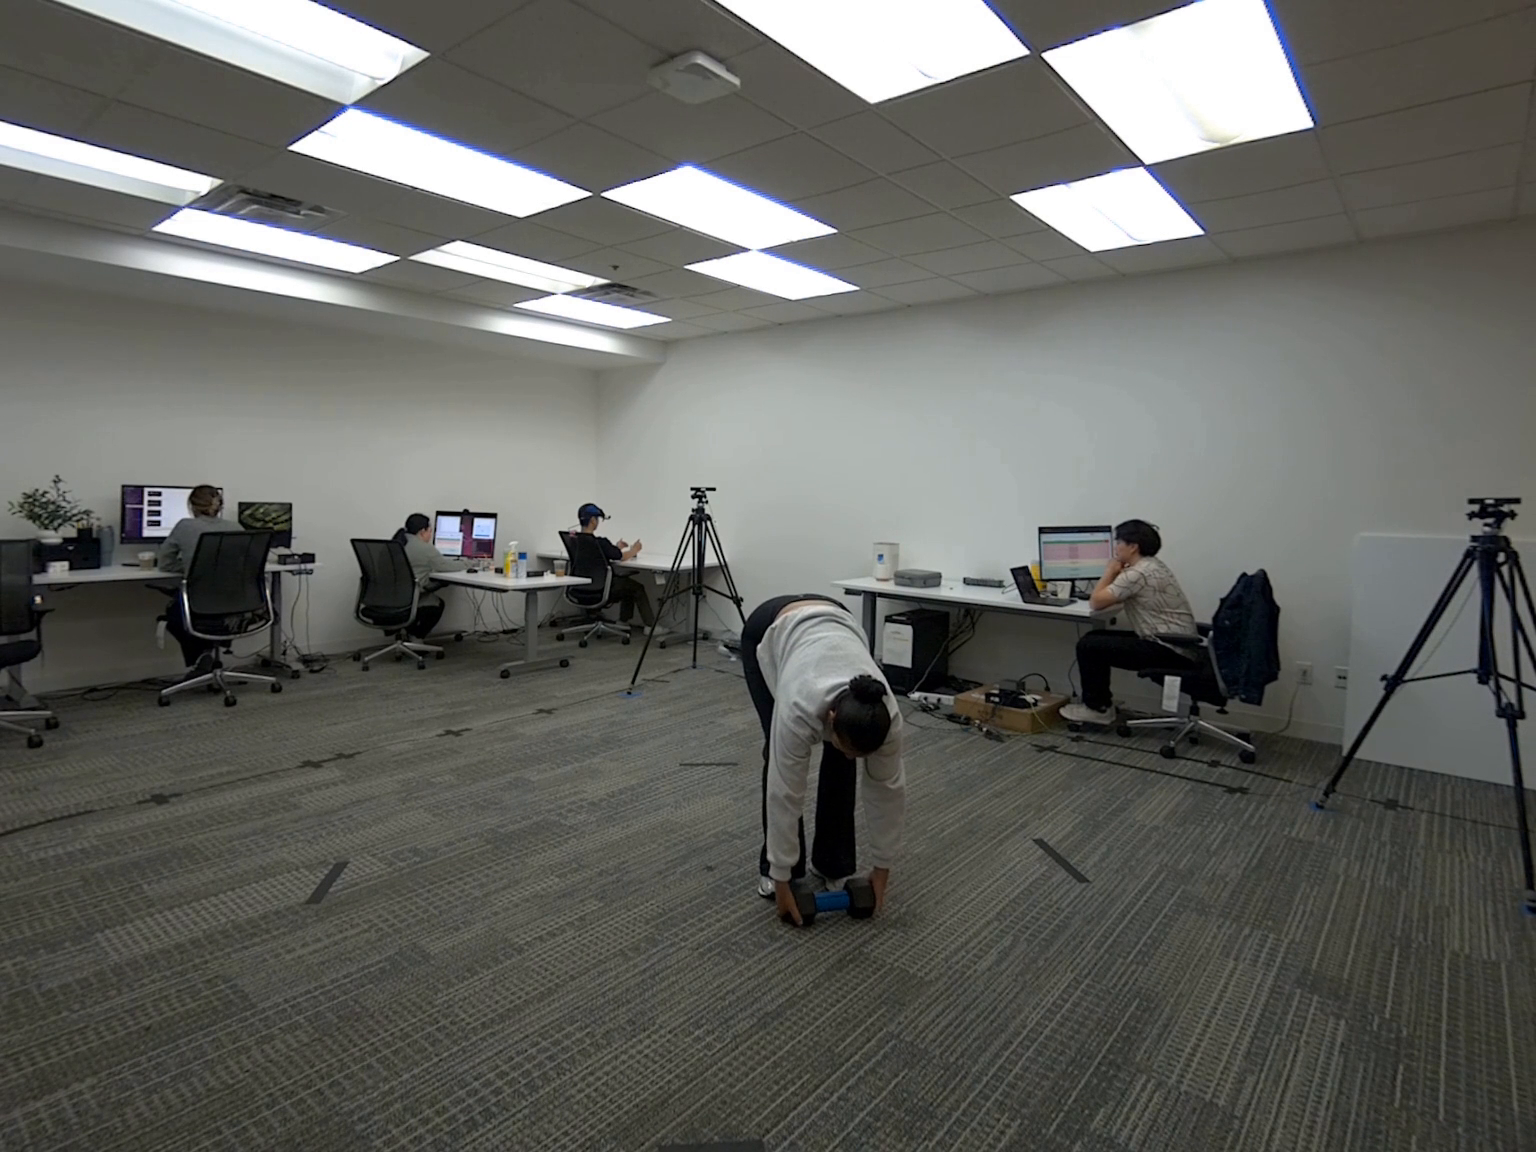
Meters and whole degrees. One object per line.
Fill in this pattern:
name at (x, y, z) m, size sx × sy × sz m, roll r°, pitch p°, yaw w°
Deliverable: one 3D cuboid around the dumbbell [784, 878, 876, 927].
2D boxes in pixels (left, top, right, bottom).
dumbbell at (0.194, 1.057, 2.782) m, size 0.288 × 0.126 × 0.108 m, roll -1°, pitch -25°, yaw -17°
